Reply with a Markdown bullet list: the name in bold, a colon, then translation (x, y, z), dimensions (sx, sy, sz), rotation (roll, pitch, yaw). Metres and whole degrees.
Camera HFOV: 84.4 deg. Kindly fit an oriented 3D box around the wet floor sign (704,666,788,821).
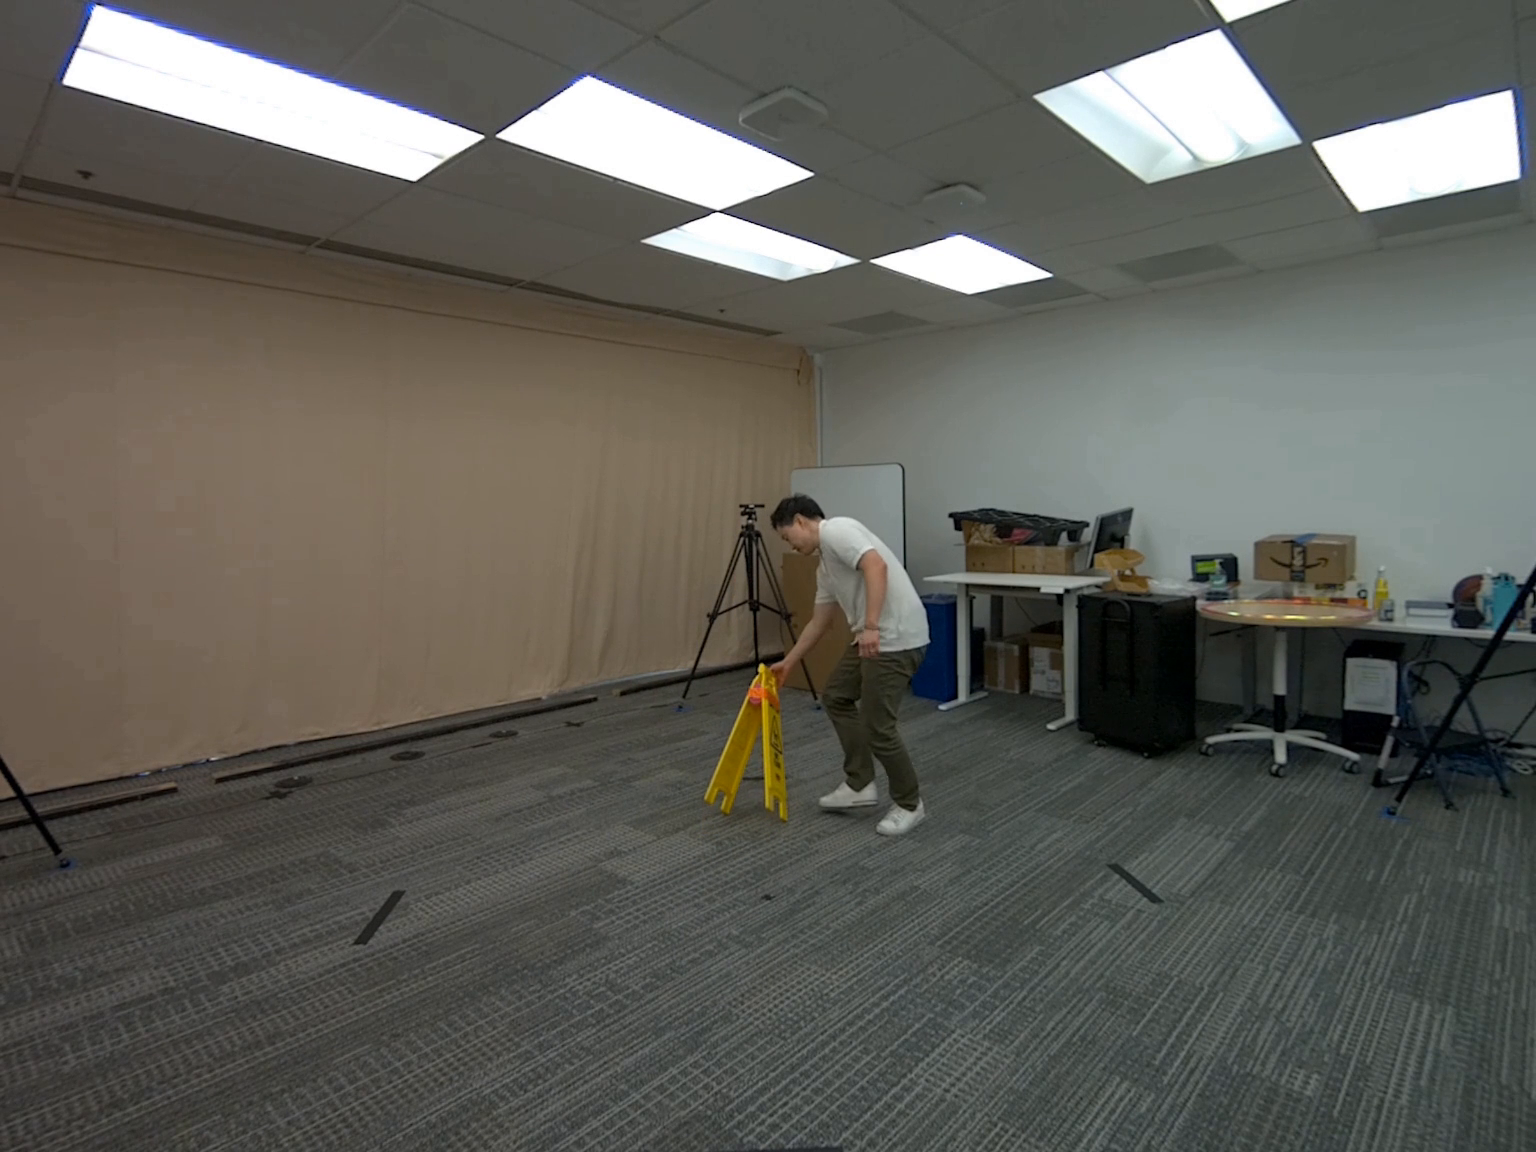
- **wet floor sign**: translation (-0.047, 0.732, 3.792), dimensions (0.296, 0.652, 0.273), rotation (0, -26, 21)
